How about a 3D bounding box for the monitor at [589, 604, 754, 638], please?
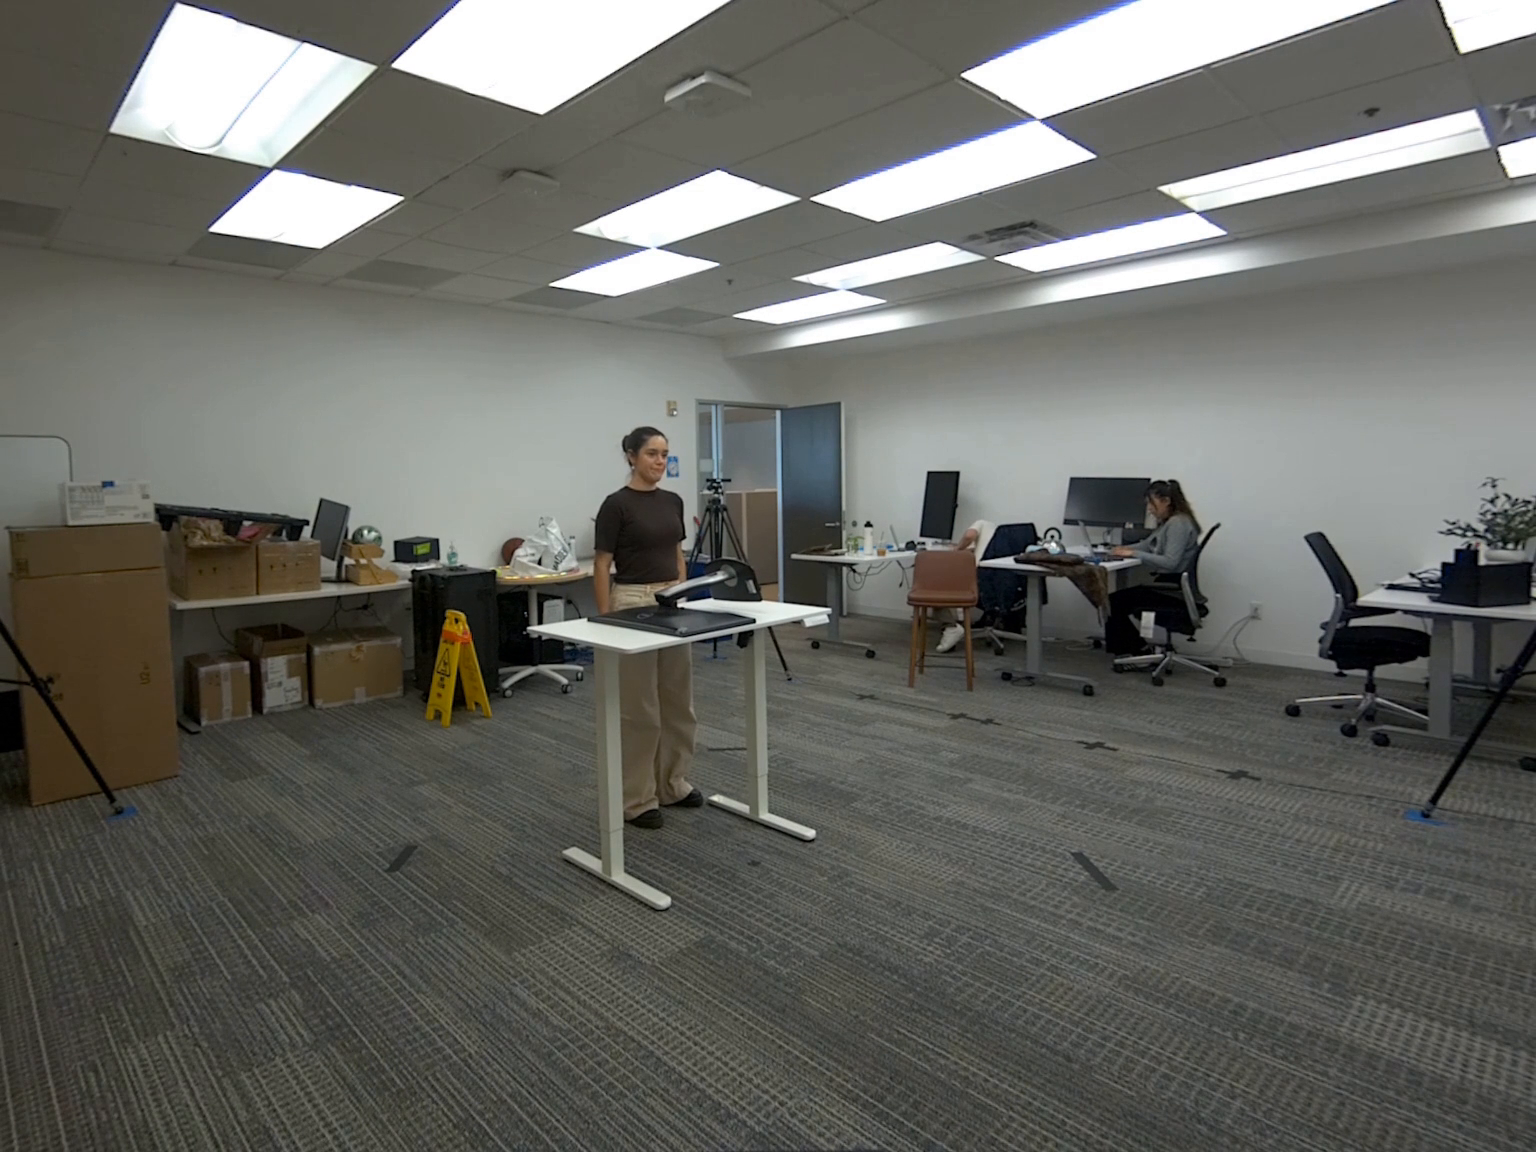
[{"bbox_3d":[-0.296,0.104,3.151,0.555,0.184,0.515,1,21,46],"label":"monitor"}]
